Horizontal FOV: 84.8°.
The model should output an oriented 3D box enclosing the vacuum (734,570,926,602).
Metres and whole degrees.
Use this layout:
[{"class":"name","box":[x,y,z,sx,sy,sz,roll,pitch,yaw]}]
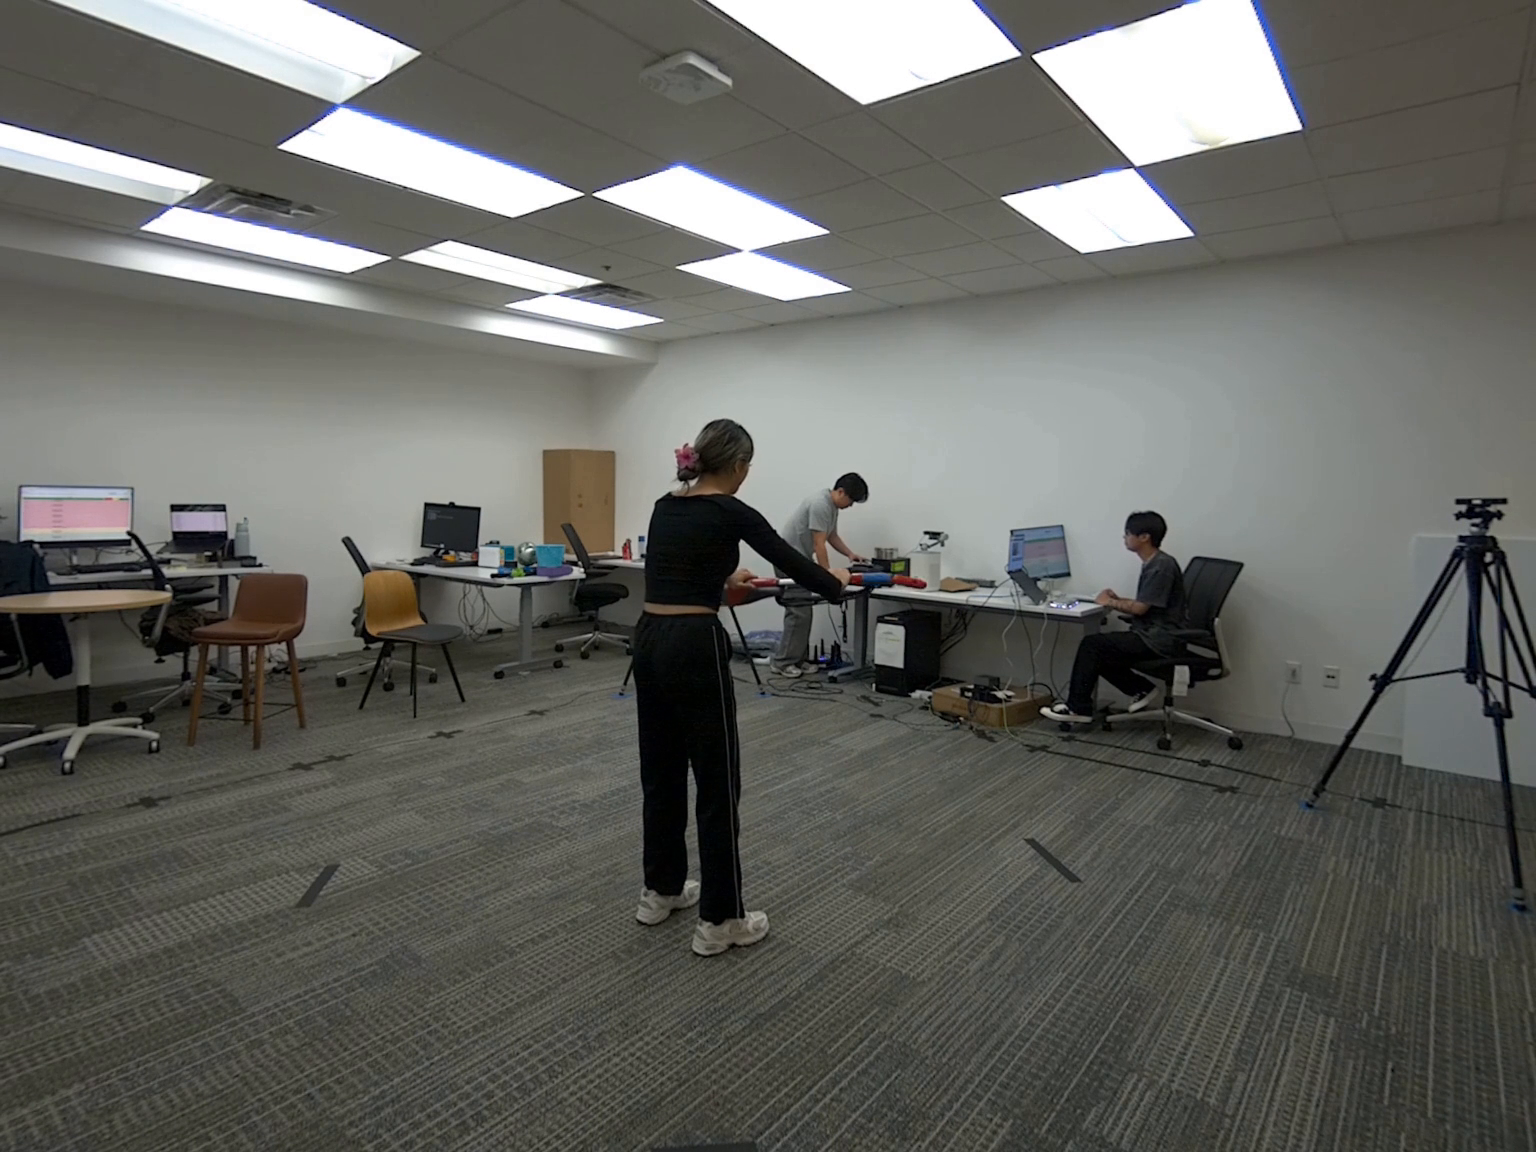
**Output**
[{"class":"vacuum","box":[0.055,0.051,3.030,1.081,0.256,0.138,-2,-30,38]}]
